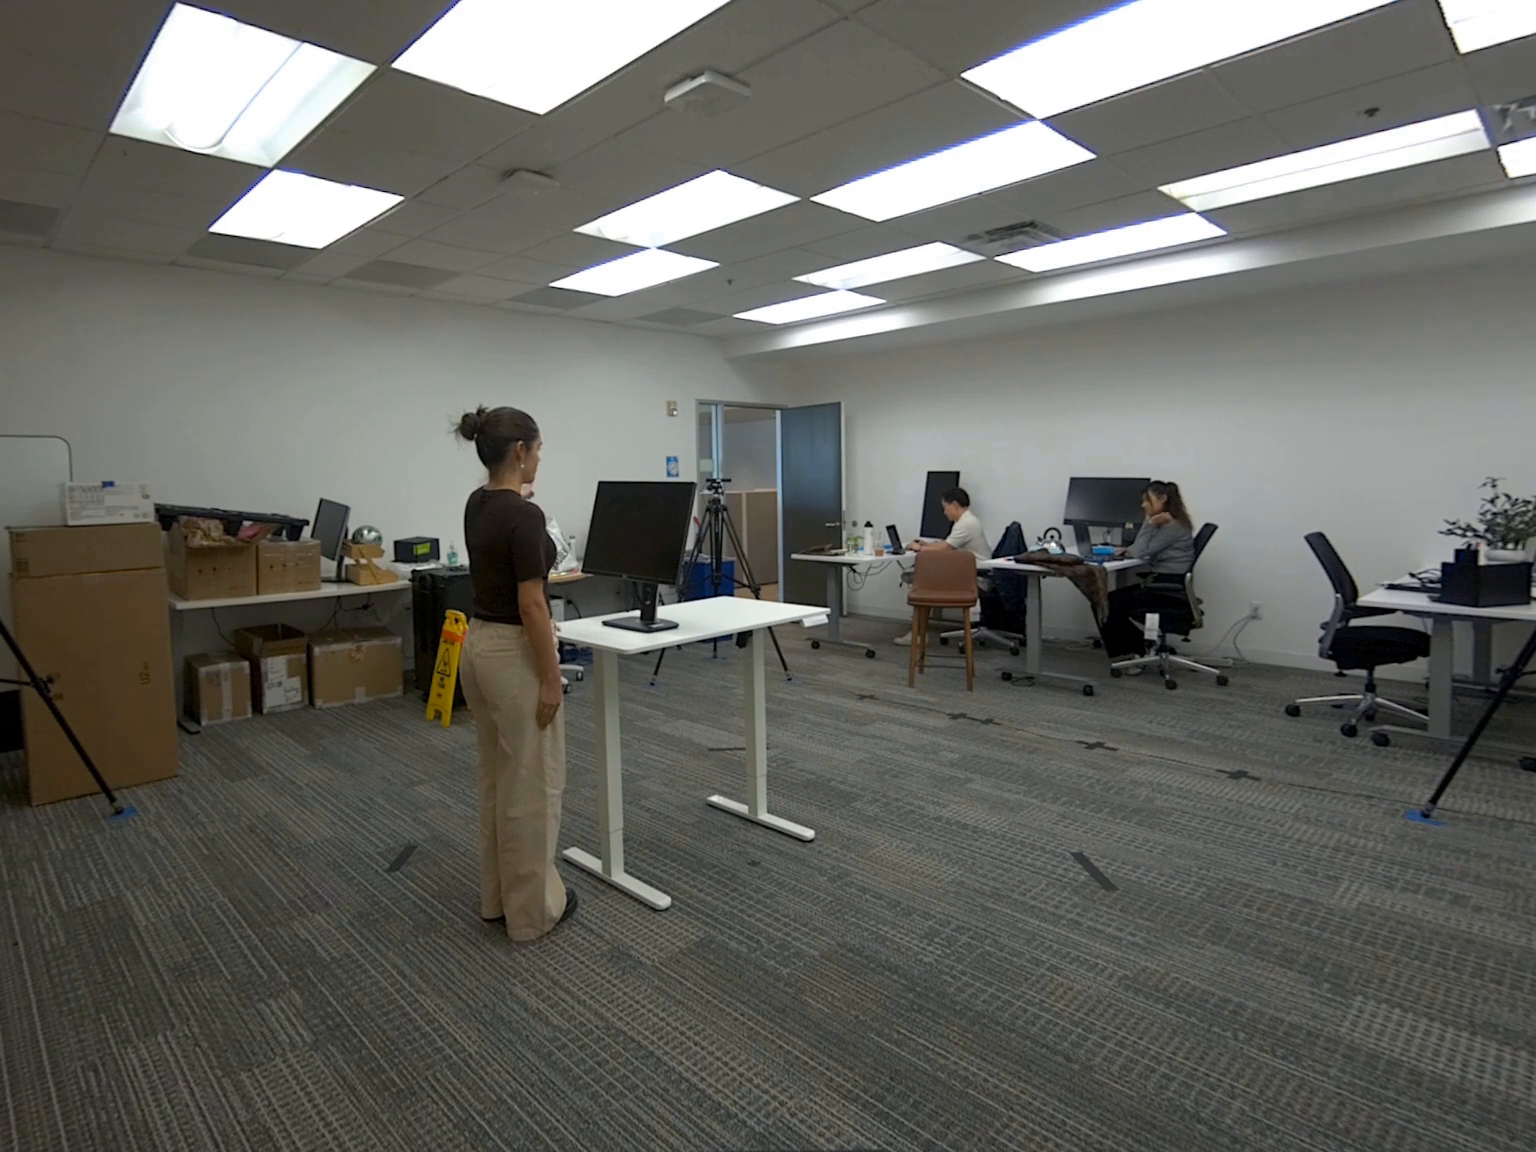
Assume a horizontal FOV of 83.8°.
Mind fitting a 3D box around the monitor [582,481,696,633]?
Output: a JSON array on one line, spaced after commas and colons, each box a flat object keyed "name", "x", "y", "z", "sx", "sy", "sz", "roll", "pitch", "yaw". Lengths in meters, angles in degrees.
[{"name": "monitor", "x": -0.447, "y": -0.073, "z": 3.032, "sx": 0.556, "sy": 0.521, "sz": 0.182, "roll": 4, "pitch": 4, "yaw": 42}]
